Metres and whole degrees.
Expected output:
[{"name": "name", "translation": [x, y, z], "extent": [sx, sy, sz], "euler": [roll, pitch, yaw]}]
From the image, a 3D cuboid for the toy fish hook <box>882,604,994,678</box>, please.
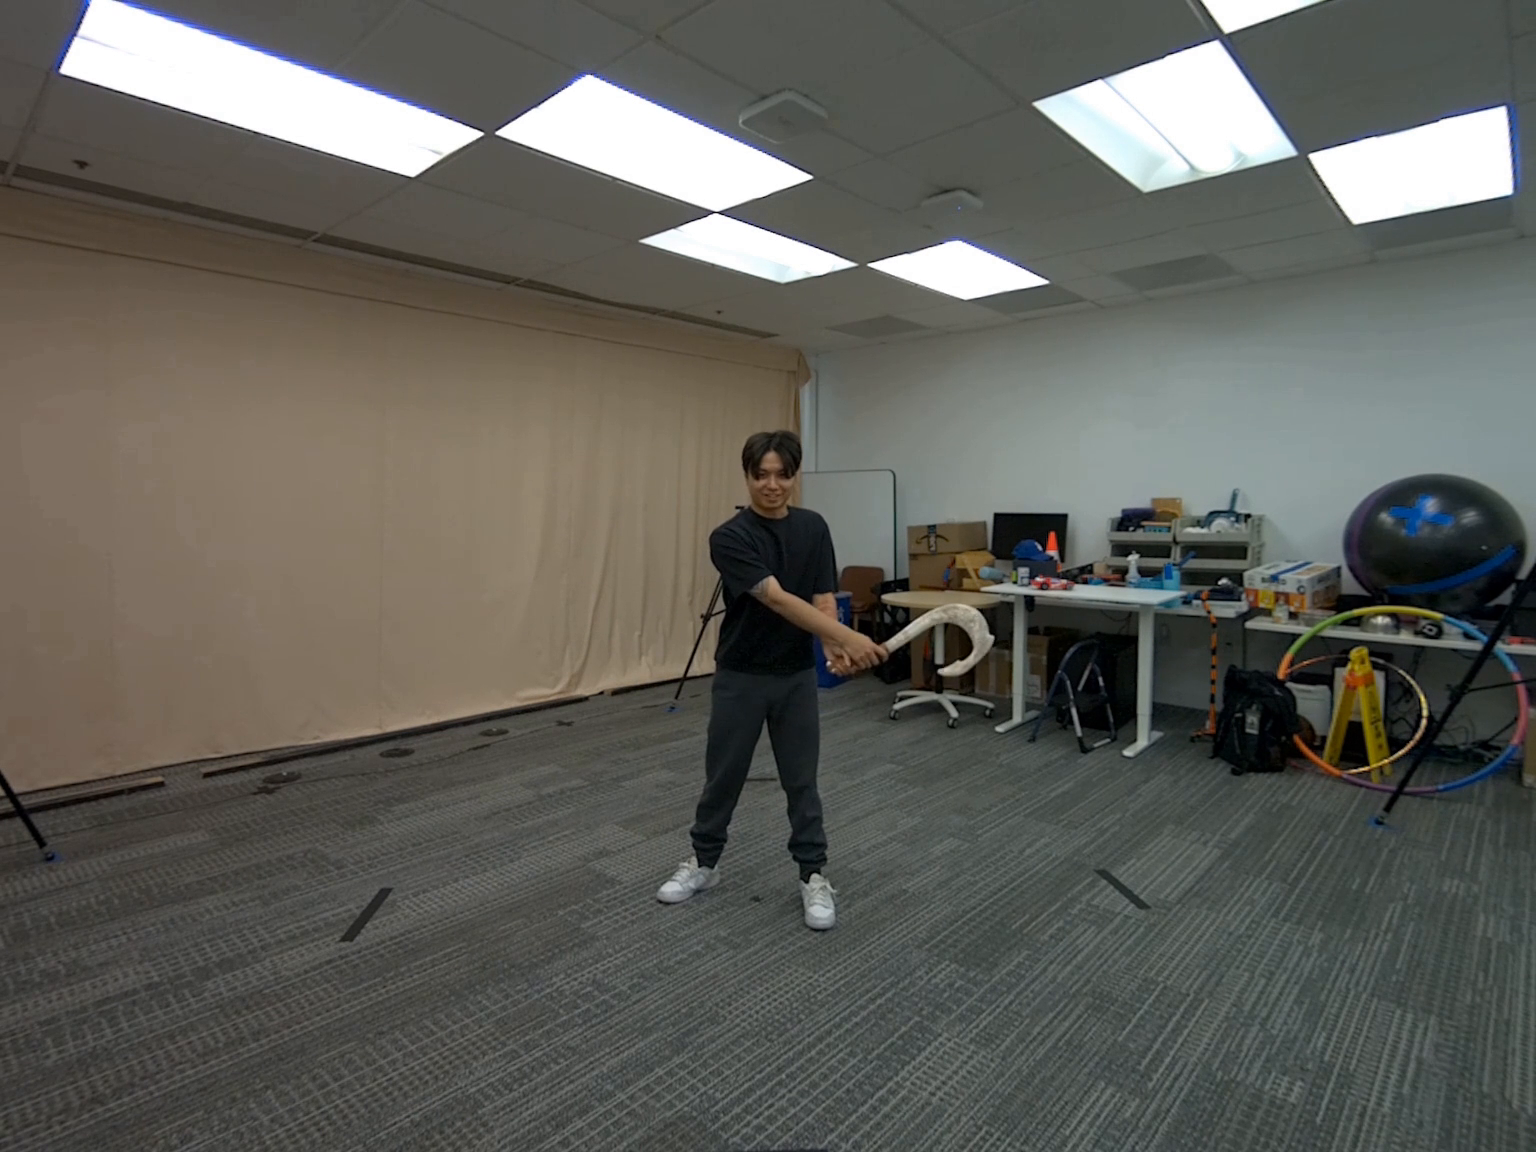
[{"name": "toy fish hook", "translation": [0.417, 0.261, 2.571], "extent": [0.510, 0.230, 0.047], "euler": [-20, -35, 7]}]
